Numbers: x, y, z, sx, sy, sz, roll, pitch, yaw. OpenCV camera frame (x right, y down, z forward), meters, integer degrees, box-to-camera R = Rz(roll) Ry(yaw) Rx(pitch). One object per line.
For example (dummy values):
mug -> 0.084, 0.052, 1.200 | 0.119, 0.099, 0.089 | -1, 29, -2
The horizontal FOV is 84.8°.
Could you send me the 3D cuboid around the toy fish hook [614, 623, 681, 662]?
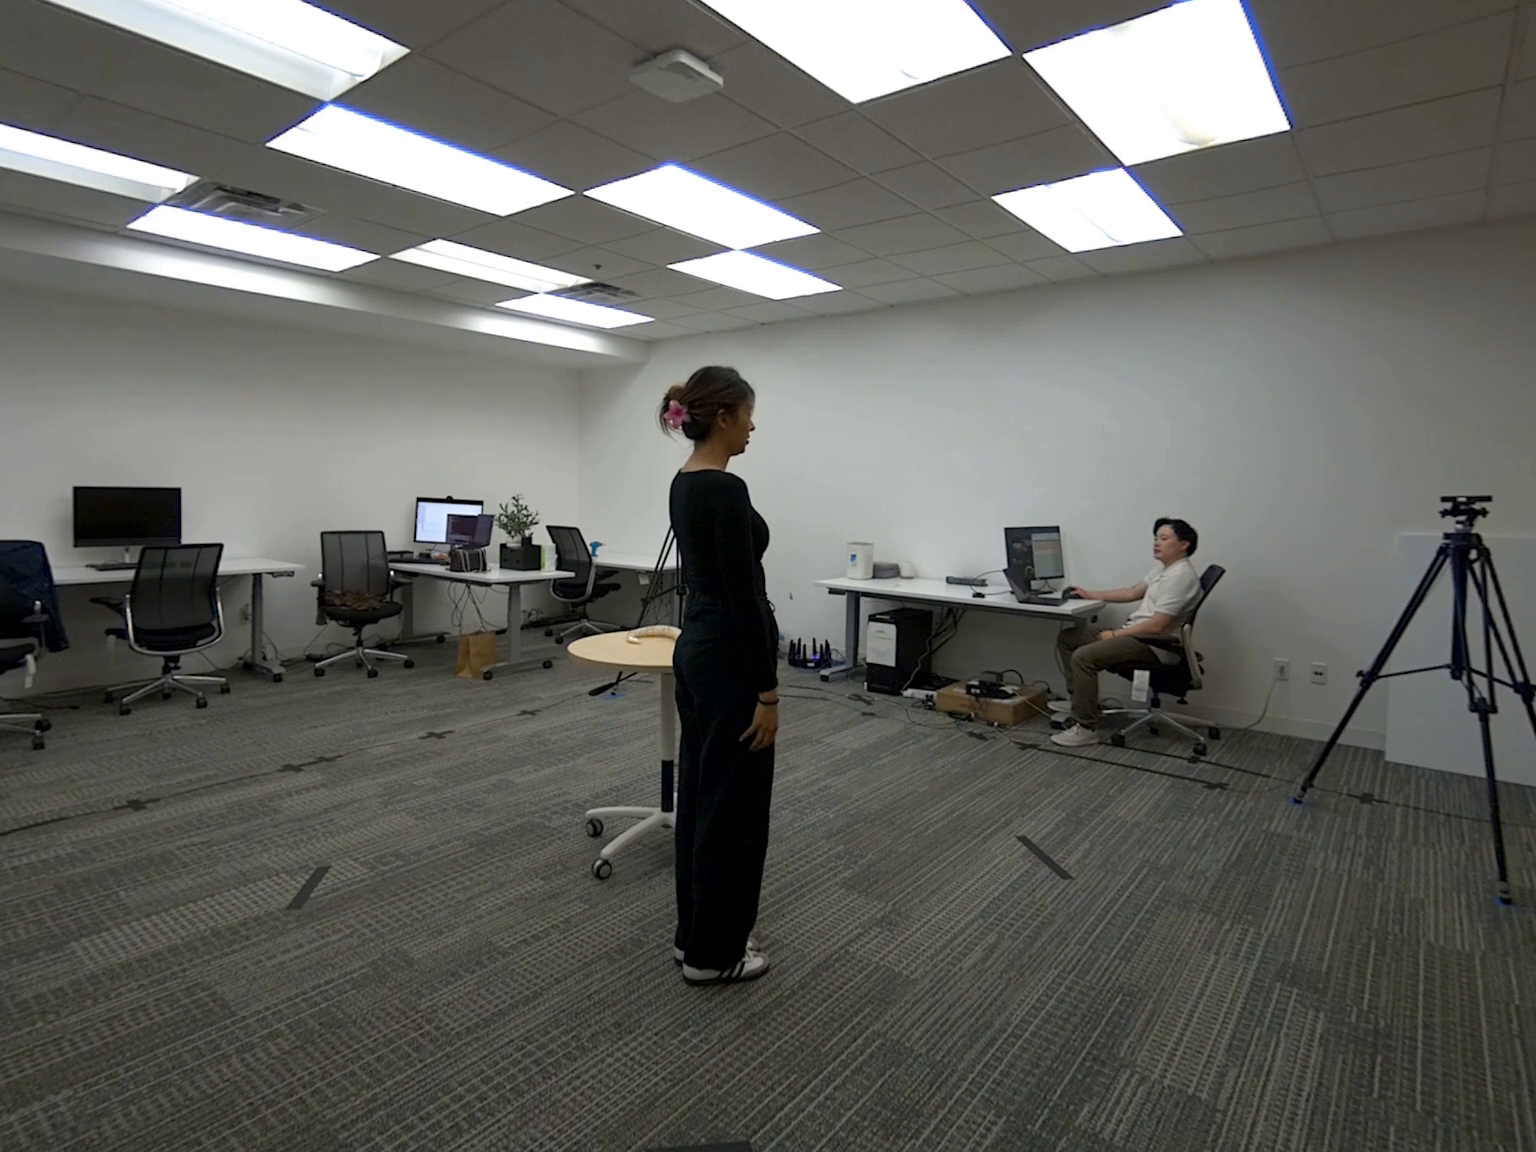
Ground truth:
toy fish hook -> -0.405, 0.251, 3.269 | 0.219, 0.048, 0.521 | -8, 7, -29
